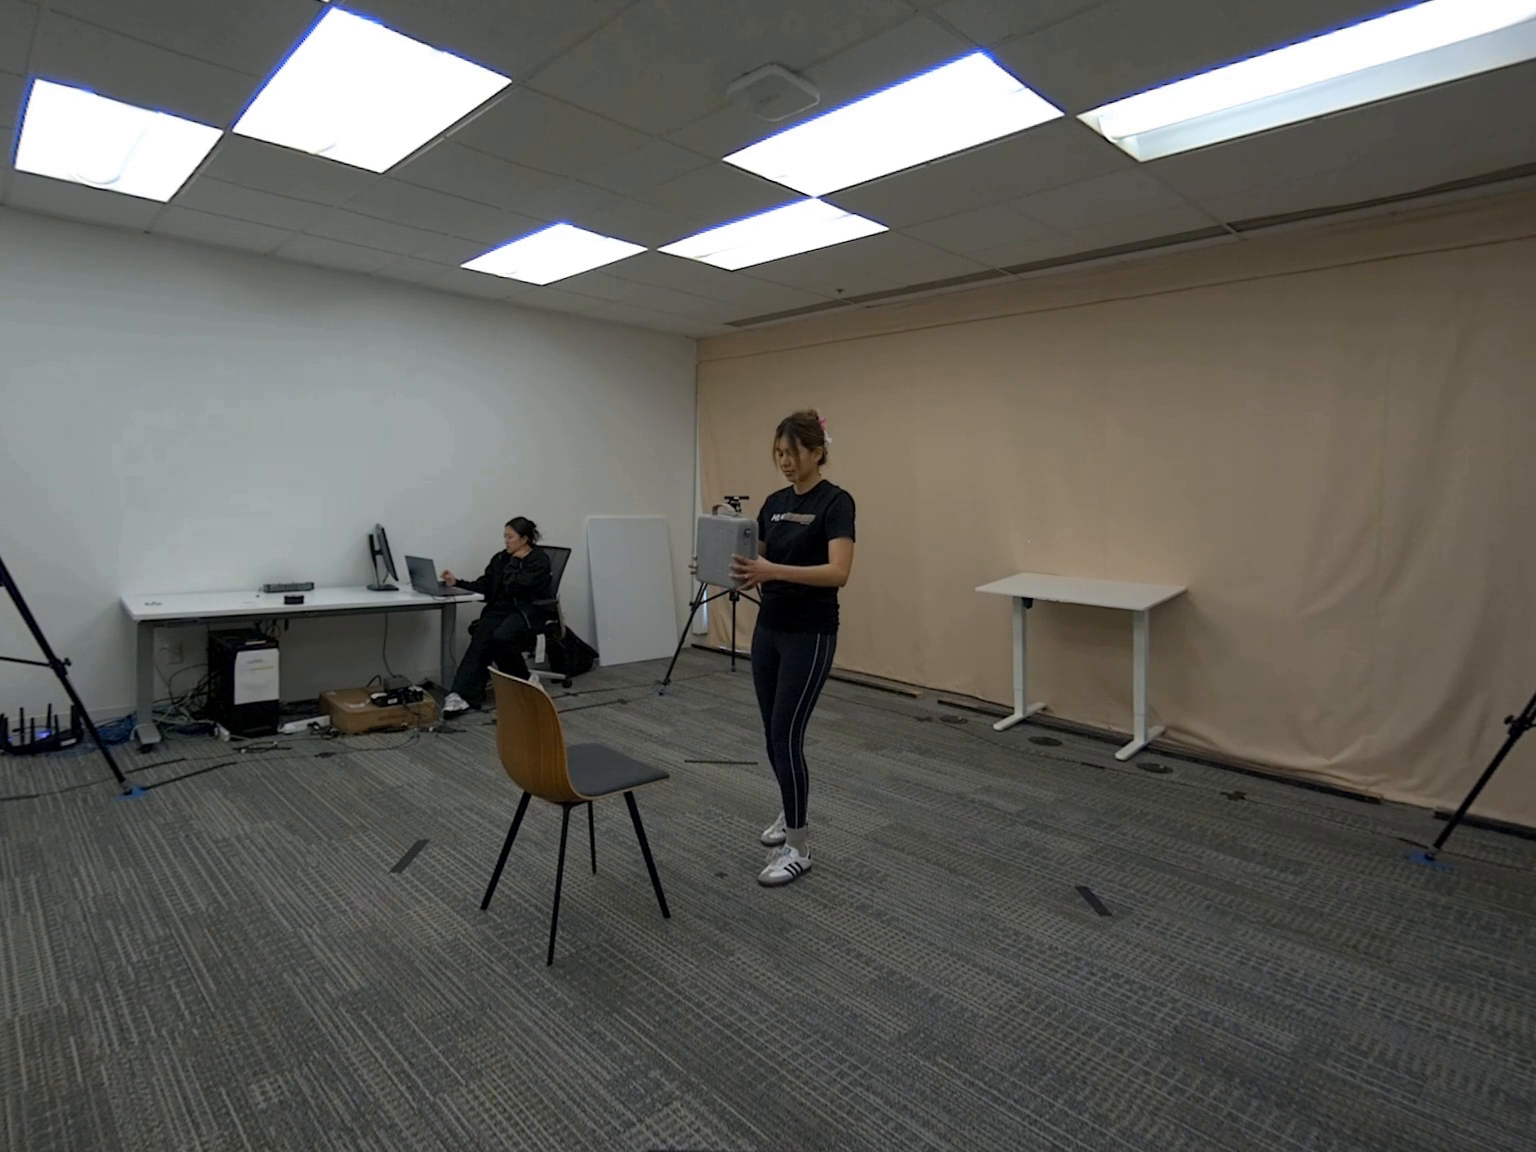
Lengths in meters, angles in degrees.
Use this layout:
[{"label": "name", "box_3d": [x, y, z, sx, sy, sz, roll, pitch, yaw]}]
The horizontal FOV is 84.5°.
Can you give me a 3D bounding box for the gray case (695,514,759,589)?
[{"label": "gray case", "box_3d": [-0.147, -0.091, 2.977, 0.102, 0.259, 0.264, -3, 8, -41]}]
